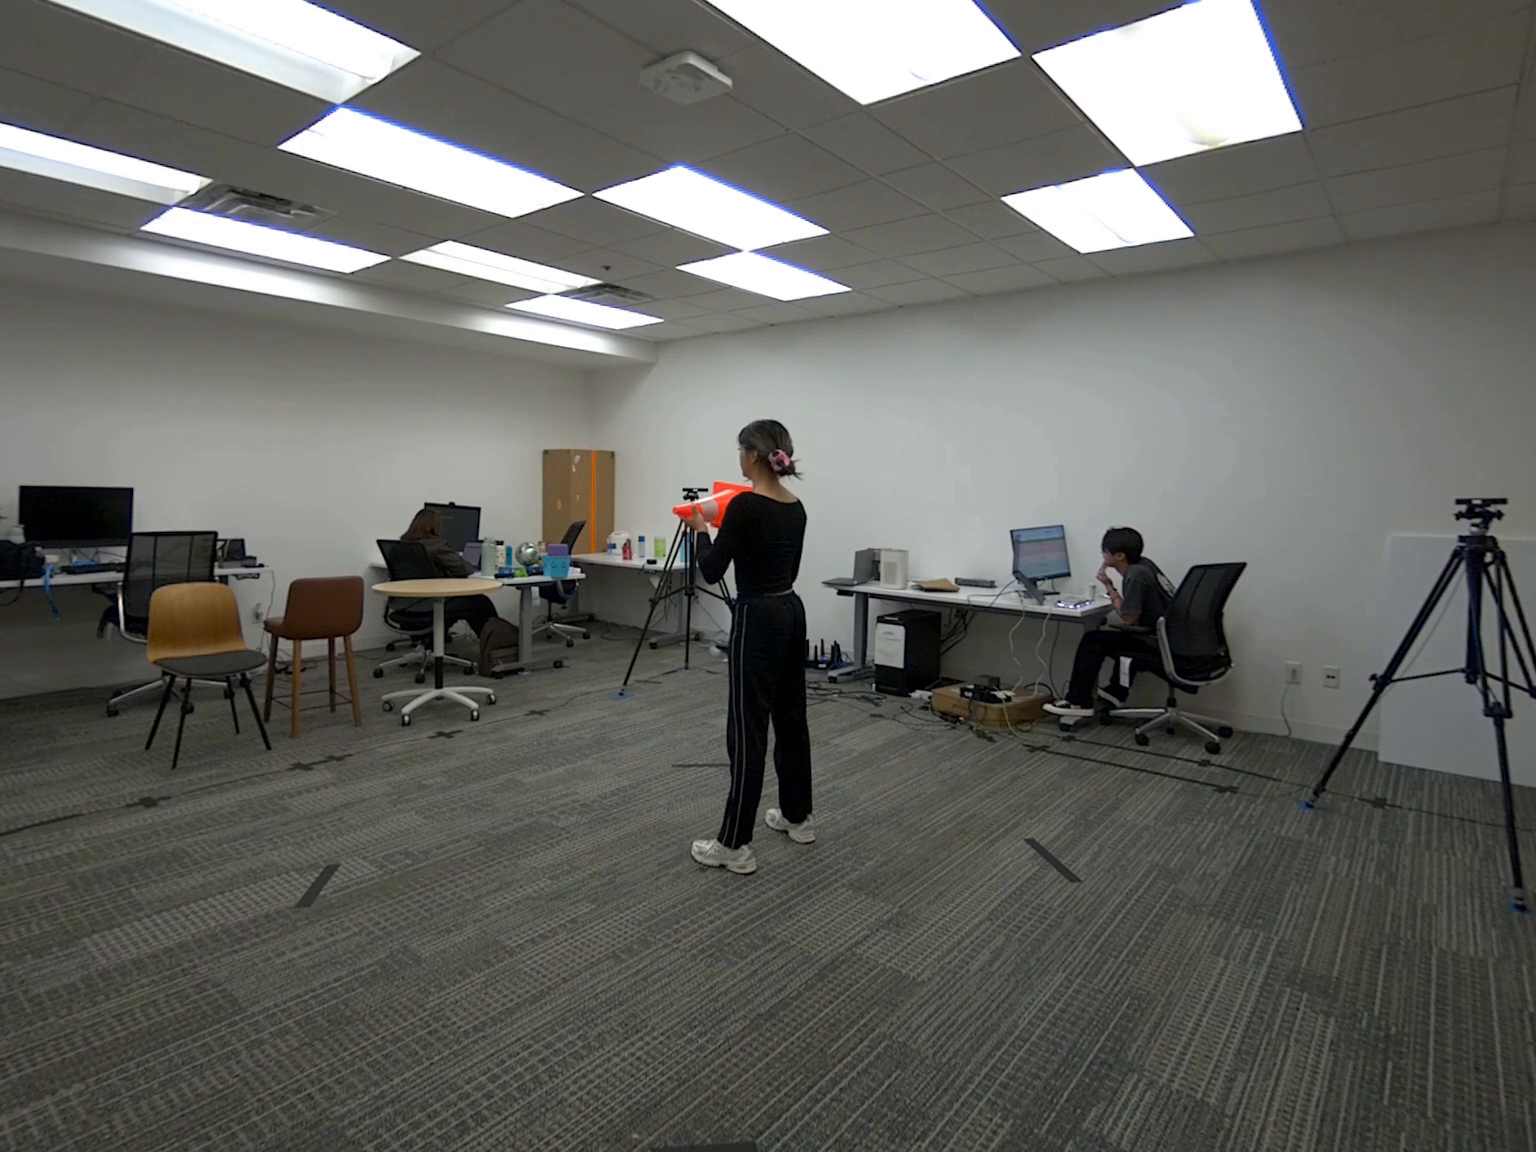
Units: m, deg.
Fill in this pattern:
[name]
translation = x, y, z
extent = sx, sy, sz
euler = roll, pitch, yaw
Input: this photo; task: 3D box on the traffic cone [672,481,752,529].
[traffic cone]
translation = -0.259, -0.271, 3.416
extent = 0.210, 0.203, 0.374
euler = 12, 11, 31
